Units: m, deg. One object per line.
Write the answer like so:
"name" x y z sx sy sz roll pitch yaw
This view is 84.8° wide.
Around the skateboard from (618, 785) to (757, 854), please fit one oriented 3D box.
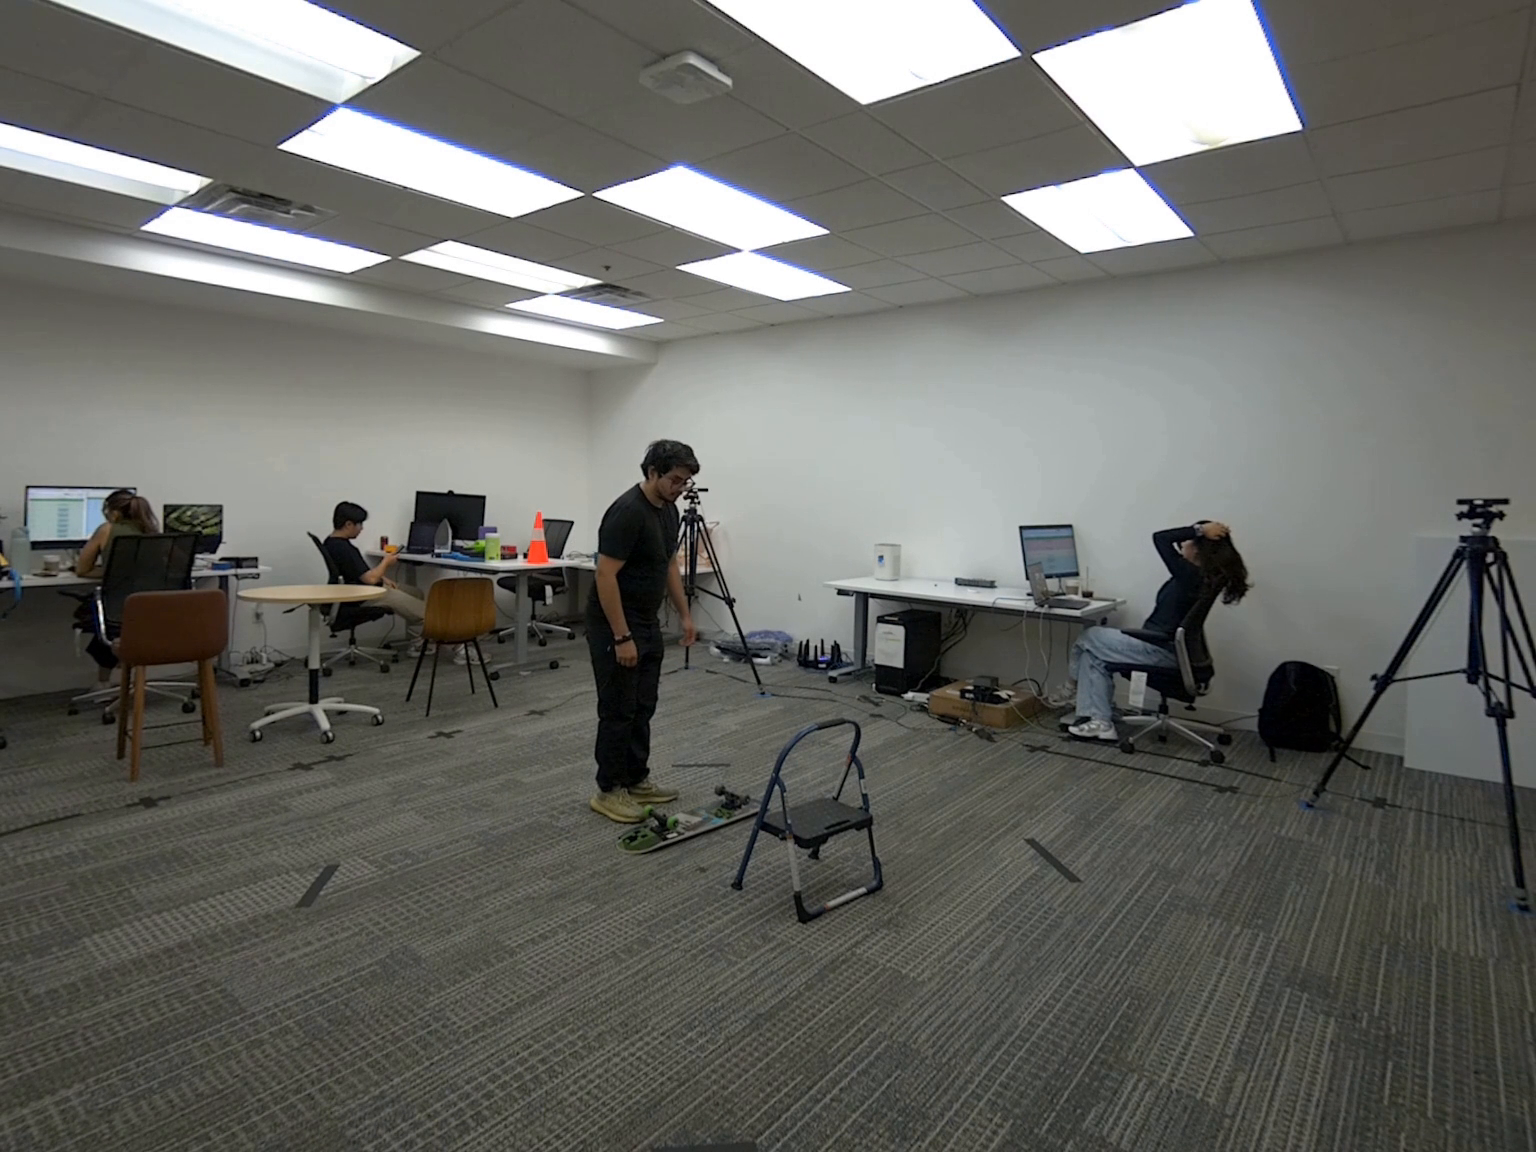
"skateboard" -0.301 0.979 3.517 0.200 0.110 0.762 5 7 45
